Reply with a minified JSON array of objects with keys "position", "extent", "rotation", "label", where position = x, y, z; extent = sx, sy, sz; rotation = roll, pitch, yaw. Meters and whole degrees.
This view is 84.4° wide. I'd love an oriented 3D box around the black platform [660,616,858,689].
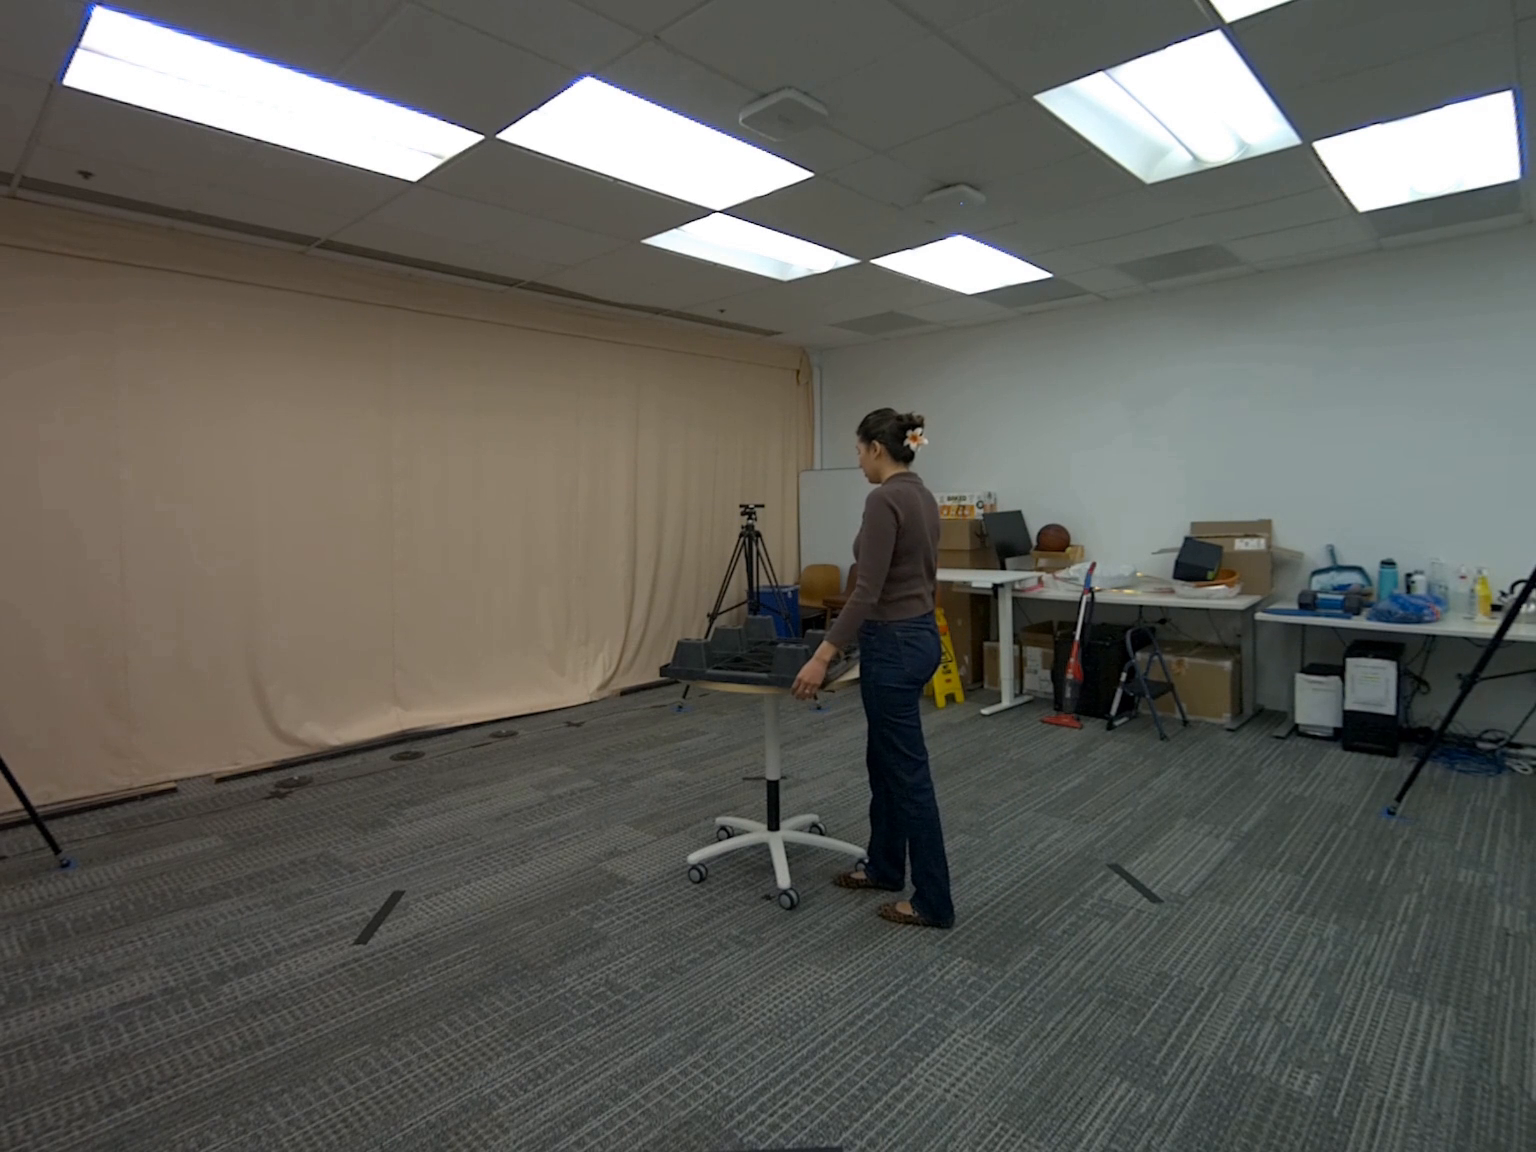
[{"position":[0.030,0.273,3.210],"extent":[0.619,0.143,0.790],"rotation":[2,6,21],"label":"black platform"}]
